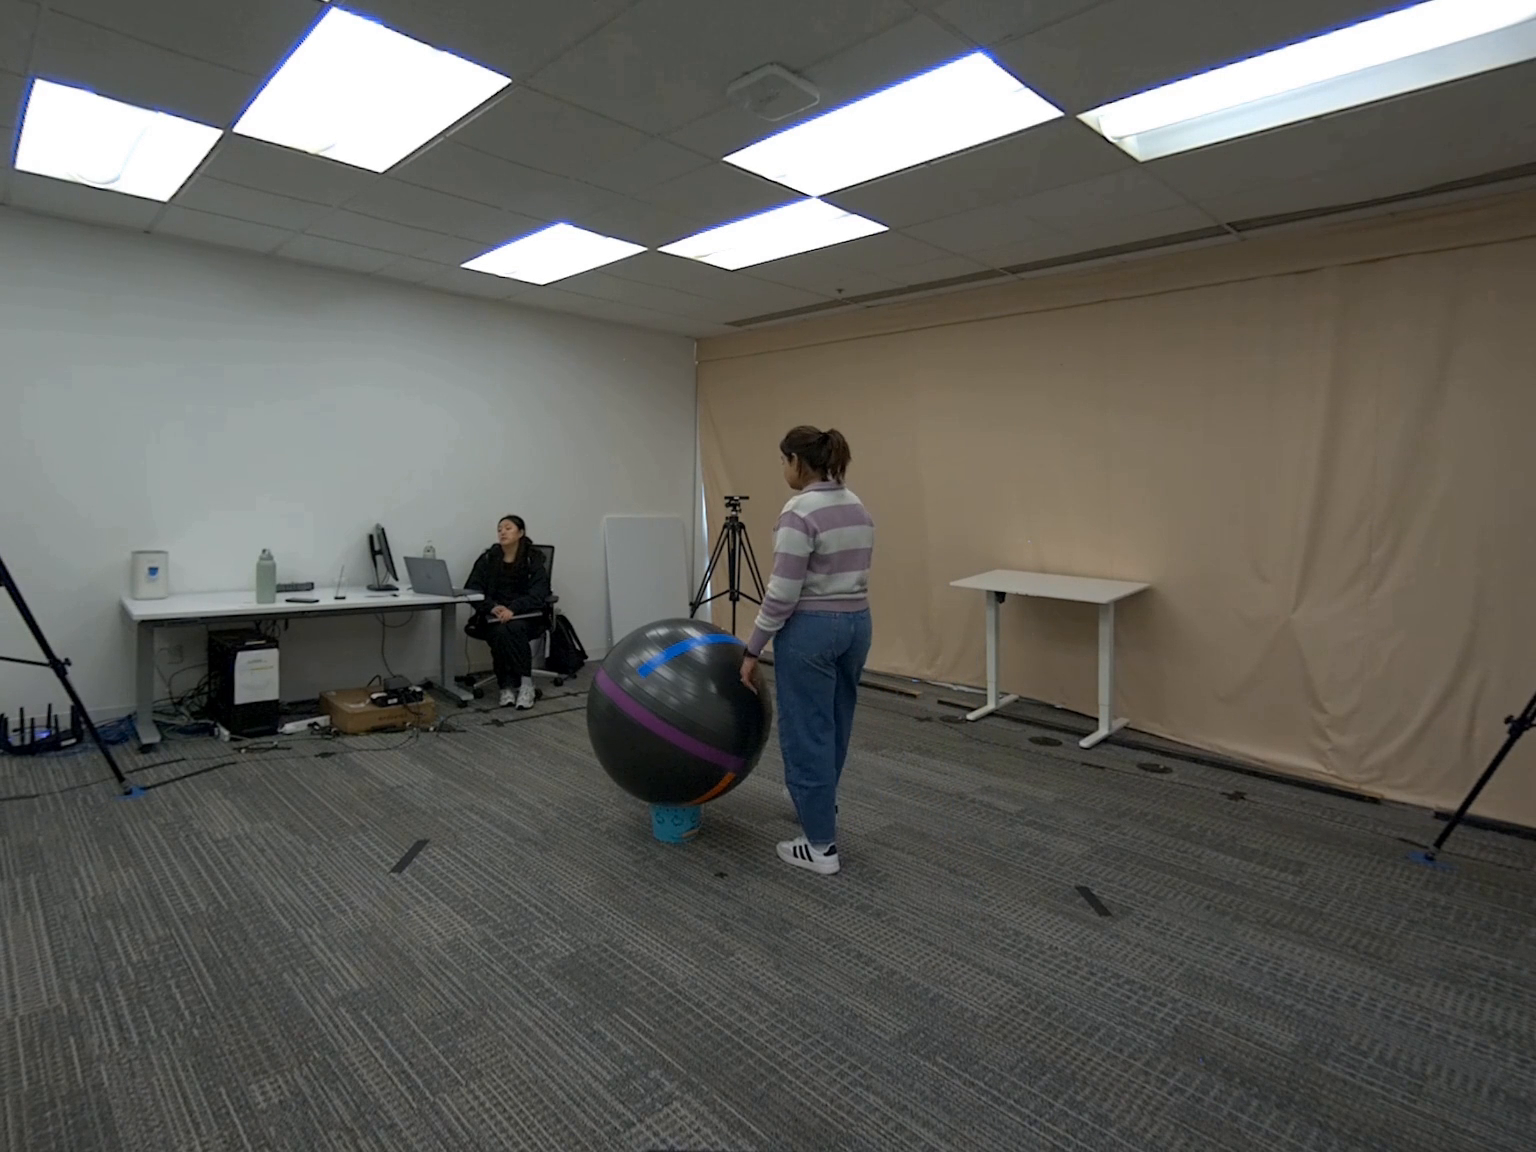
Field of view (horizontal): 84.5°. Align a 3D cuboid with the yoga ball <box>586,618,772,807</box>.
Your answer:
[{"bbox_3d":[-0.370,0.557,3.478,0.757,0.756,0.761,1,4,-1],"label":"yoga ball"}]
